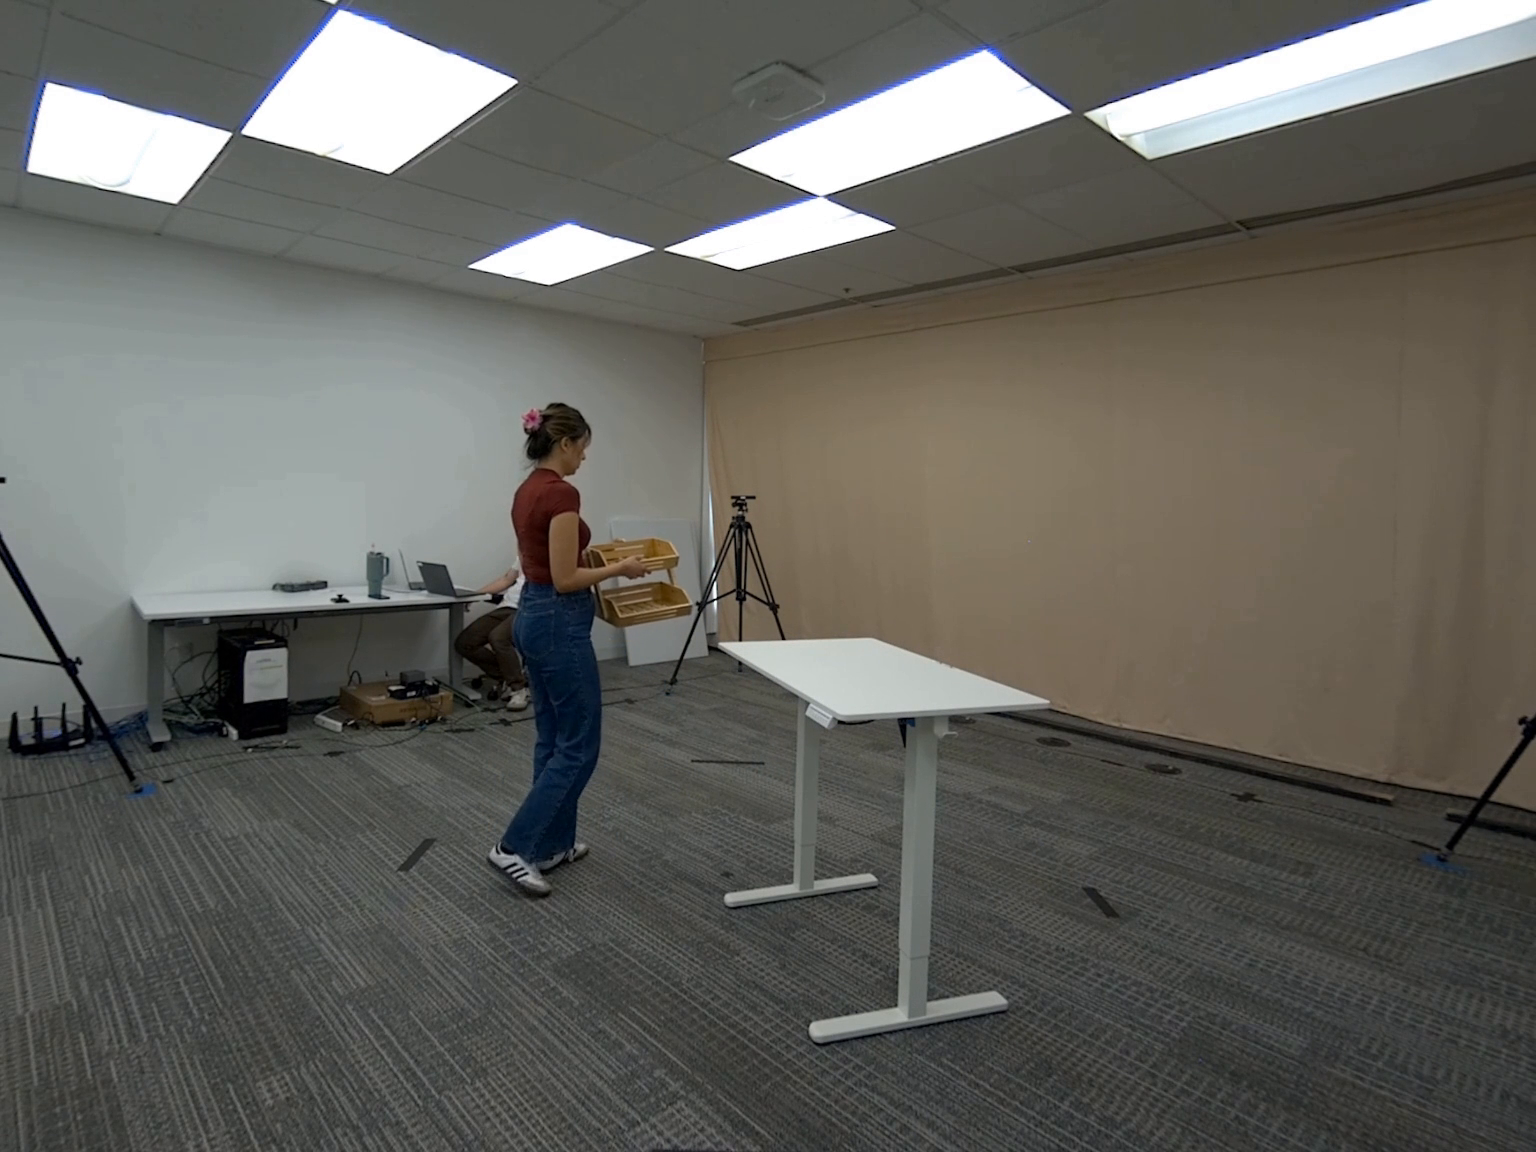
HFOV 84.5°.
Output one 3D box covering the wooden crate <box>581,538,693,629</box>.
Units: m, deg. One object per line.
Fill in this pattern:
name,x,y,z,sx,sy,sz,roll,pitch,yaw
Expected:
wooden crate,-0.498,0.015,3.172,0.318,0.271,0.310,-8,12,-33
